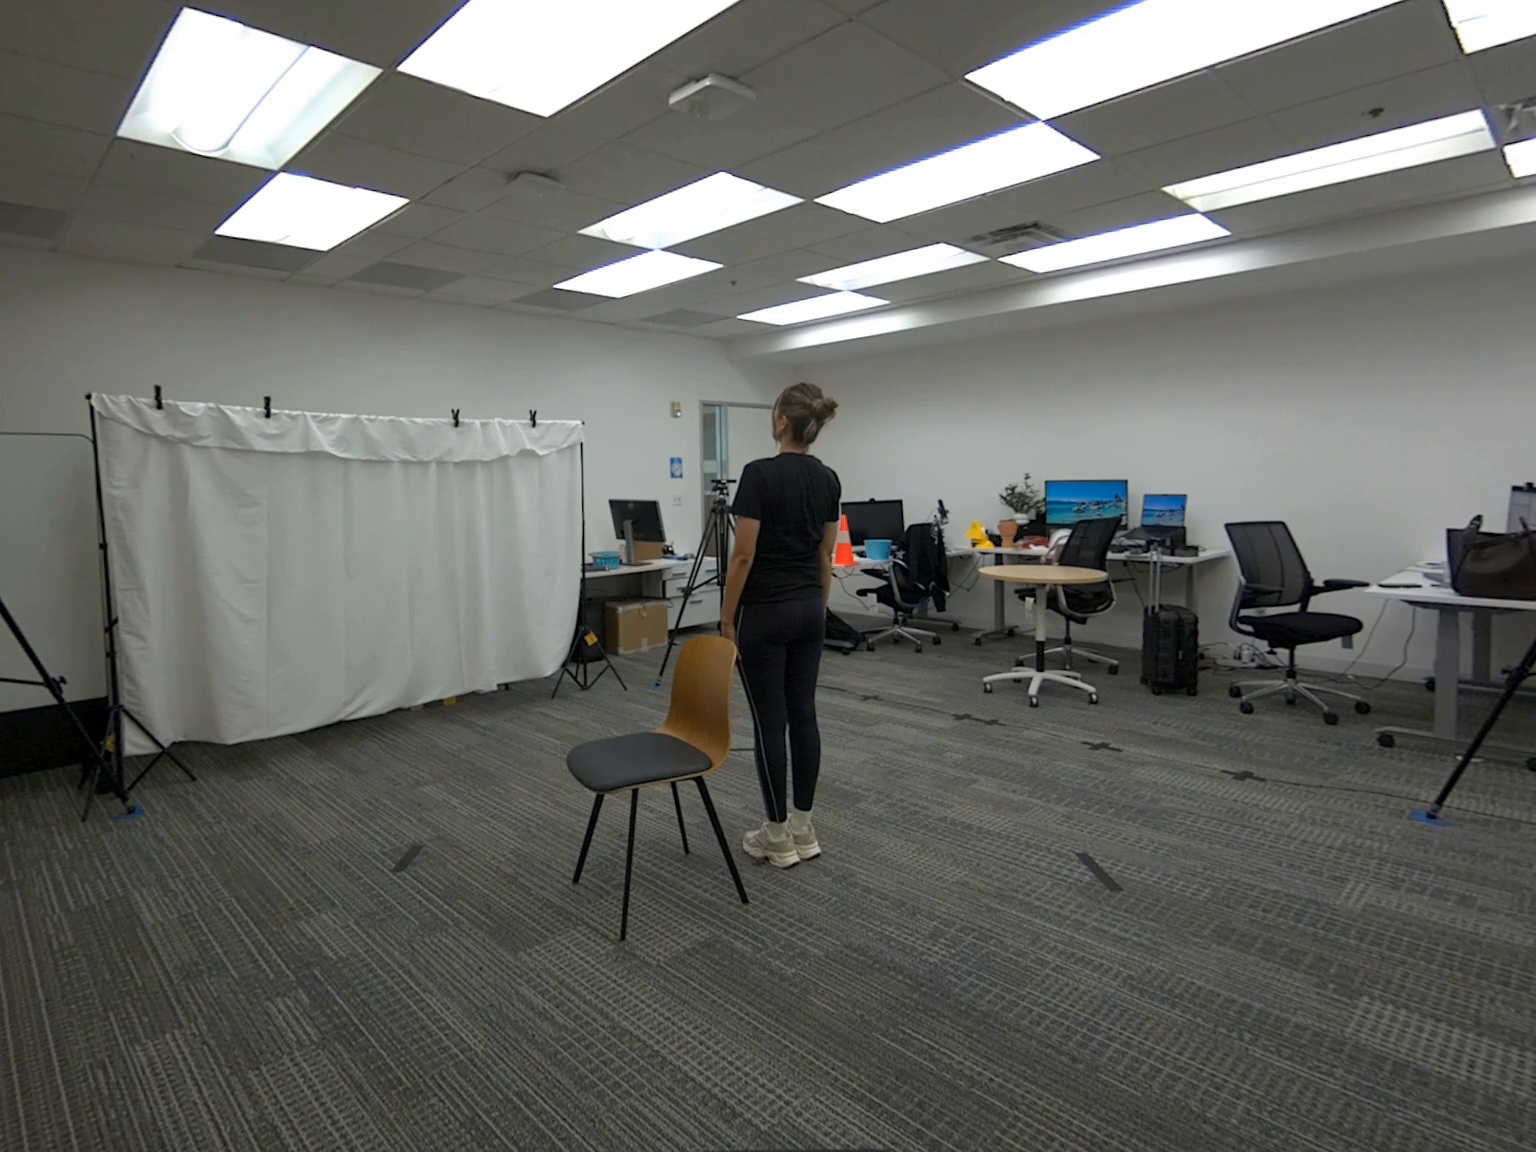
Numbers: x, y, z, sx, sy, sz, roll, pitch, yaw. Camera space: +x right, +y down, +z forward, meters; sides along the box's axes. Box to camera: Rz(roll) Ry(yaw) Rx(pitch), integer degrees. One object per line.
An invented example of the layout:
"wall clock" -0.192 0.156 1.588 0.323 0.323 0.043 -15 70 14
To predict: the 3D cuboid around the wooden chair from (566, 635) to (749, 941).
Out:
"wooden chair" -0.388 0.656 2.863 0.510 0.875 0.491 1 3 -30
